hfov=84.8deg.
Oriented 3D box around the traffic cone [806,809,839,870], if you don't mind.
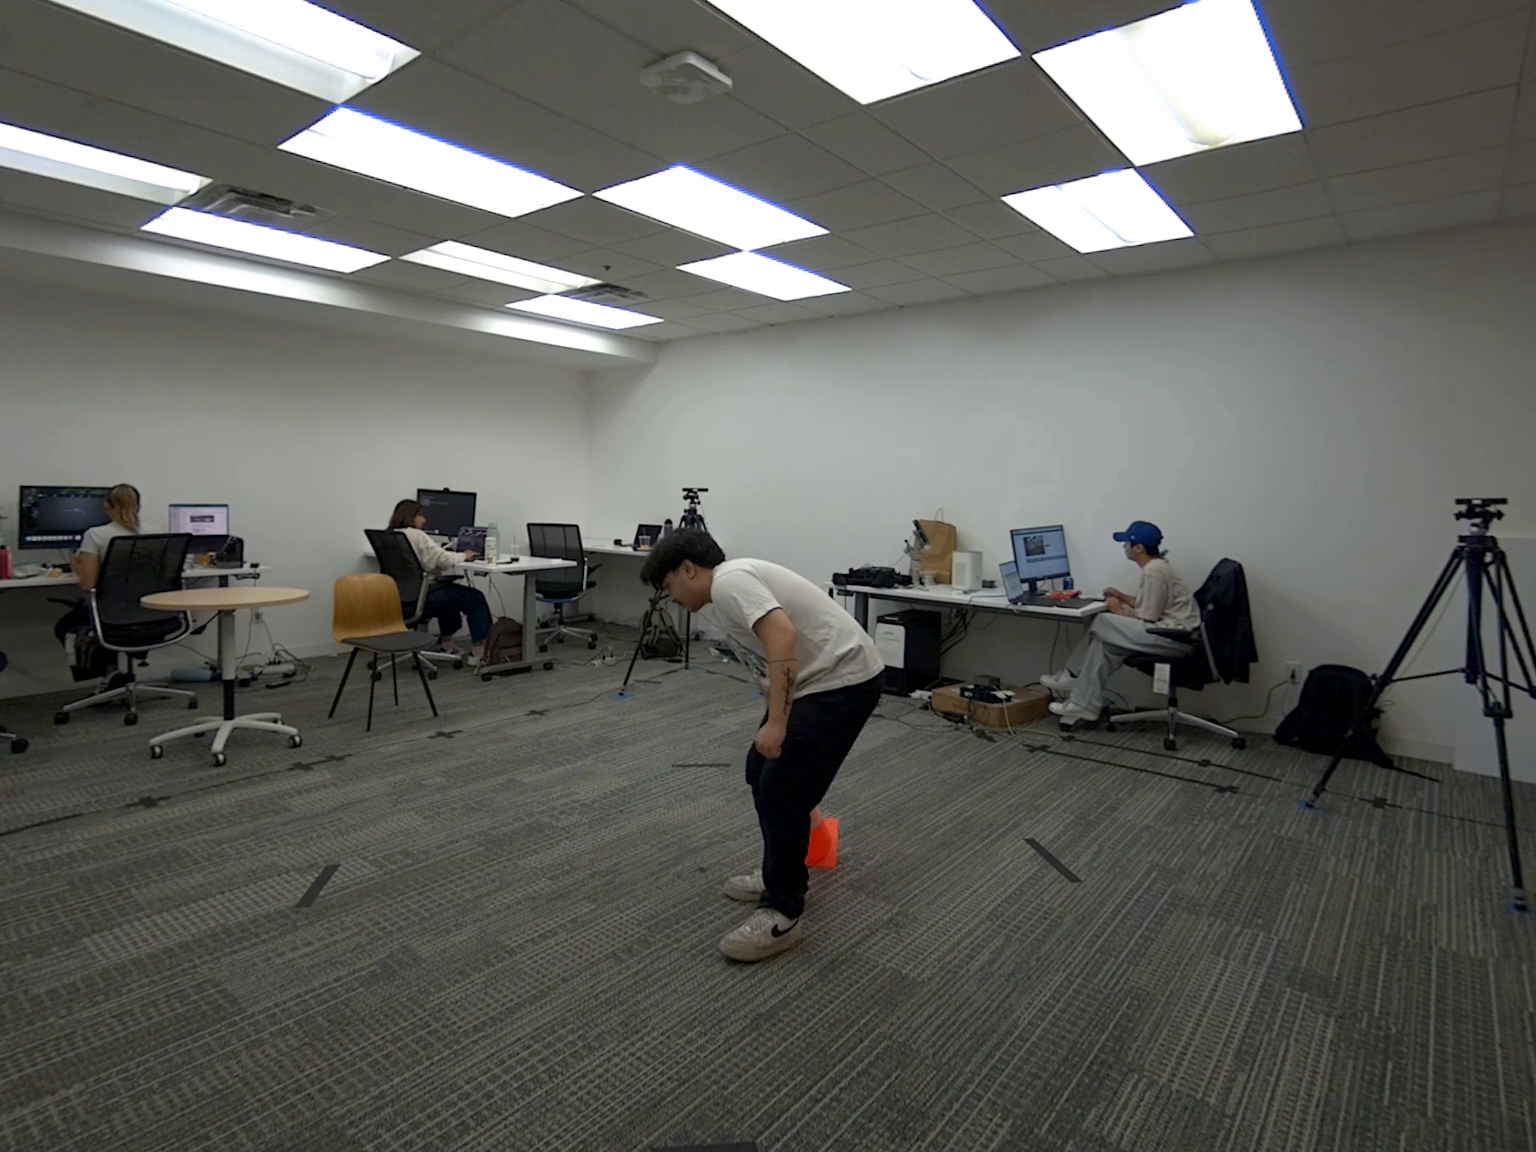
[{"bbox_3d":[0.134,0.870,3.119,0.207,0.371,0.208,-4,41,8],"label":"traffic cone"}]
